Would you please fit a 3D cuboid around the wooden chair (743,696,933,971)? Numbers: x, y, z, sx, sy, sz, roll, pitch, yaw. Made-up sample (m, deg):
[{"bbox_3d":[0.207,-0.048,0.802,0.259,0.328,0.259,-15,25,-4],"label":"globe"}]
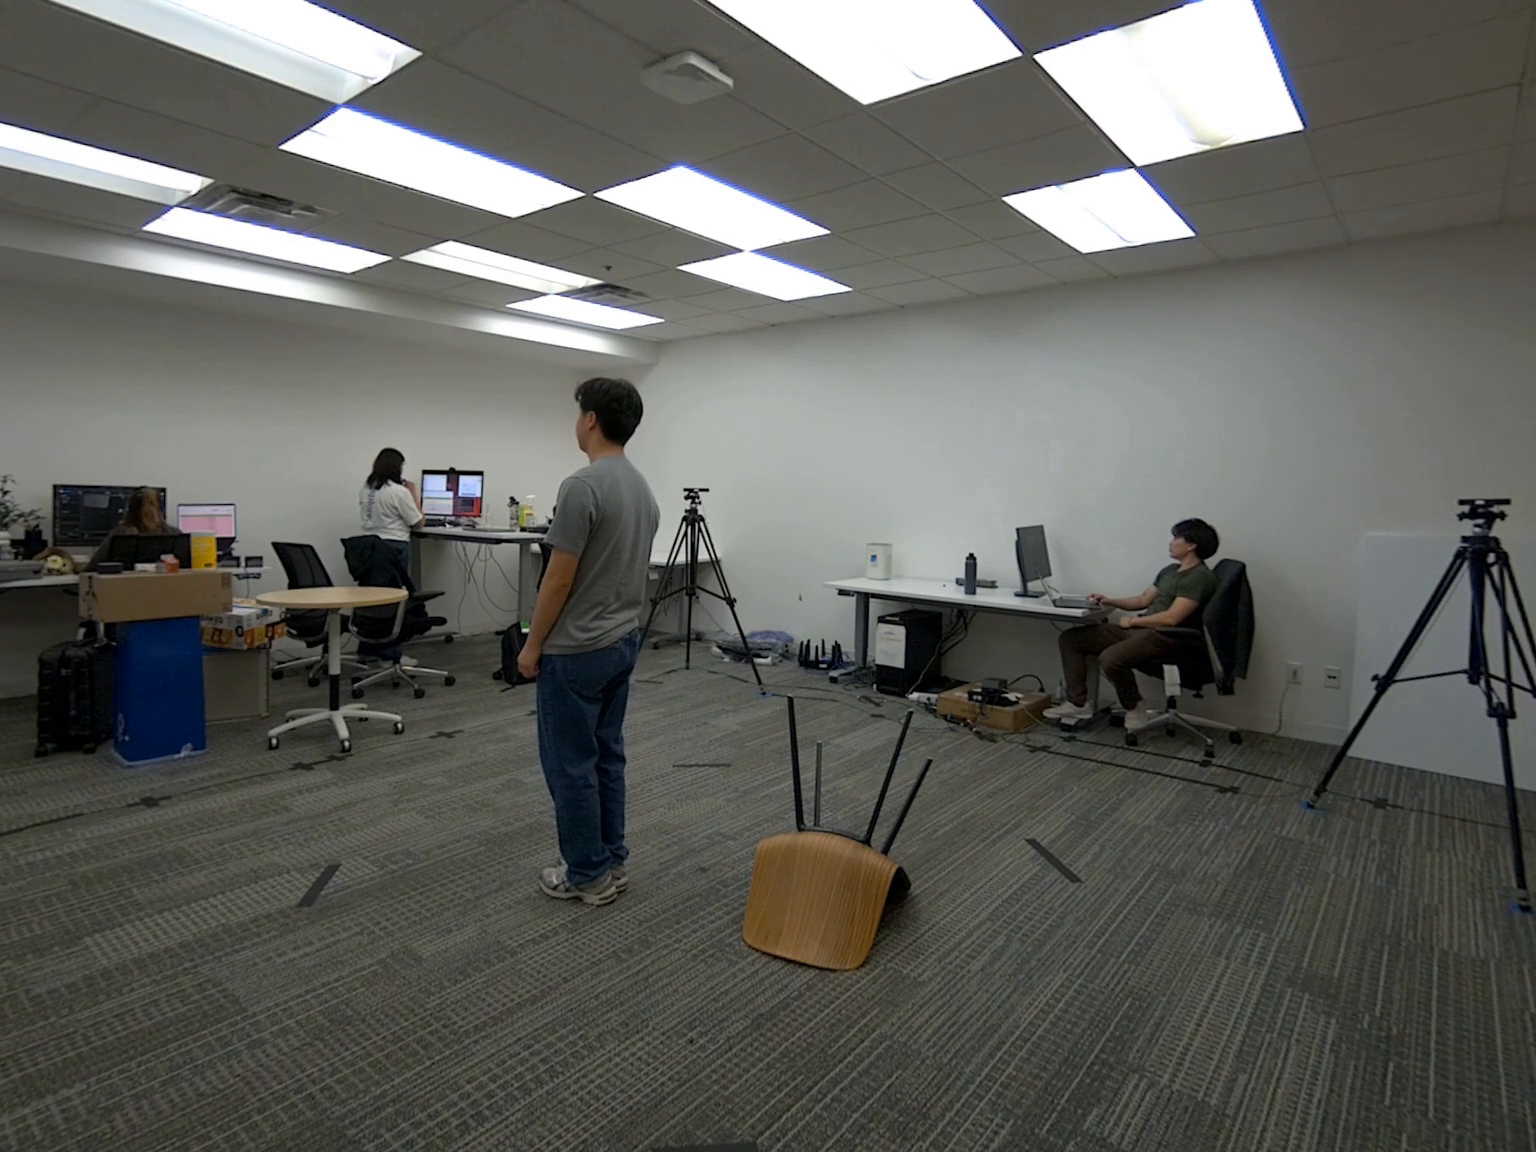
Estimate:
[{"bbox_3d":[0.240,0.929,2.921,0.490,0.891,0.503,3,-36,22],"label":"wooden chair"}]
